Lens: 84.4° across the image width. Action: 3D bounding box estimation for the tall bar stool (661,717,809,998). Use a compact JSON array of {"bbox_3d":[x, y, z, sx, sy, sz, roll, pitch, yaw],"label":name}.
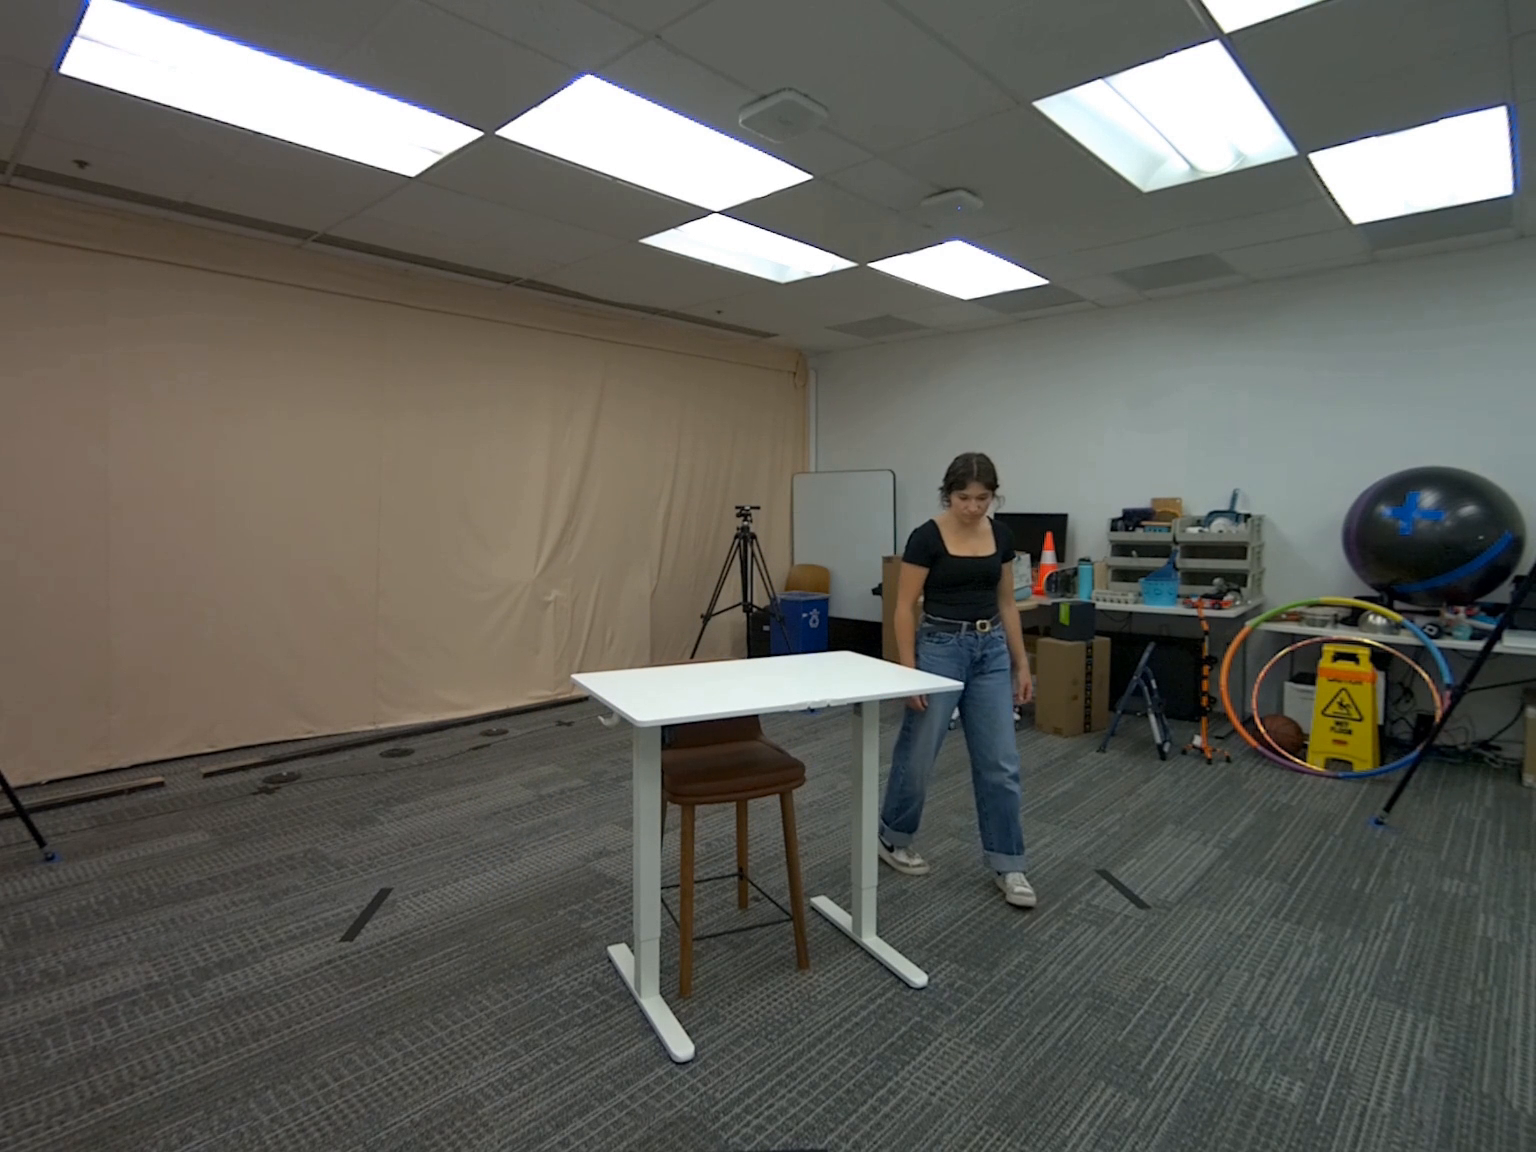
[{"bbox_3d":[-0.159,0.745,2.641,0.446,0.889,0.478,-1,1,-24],"label":"tall bar stool"}]
